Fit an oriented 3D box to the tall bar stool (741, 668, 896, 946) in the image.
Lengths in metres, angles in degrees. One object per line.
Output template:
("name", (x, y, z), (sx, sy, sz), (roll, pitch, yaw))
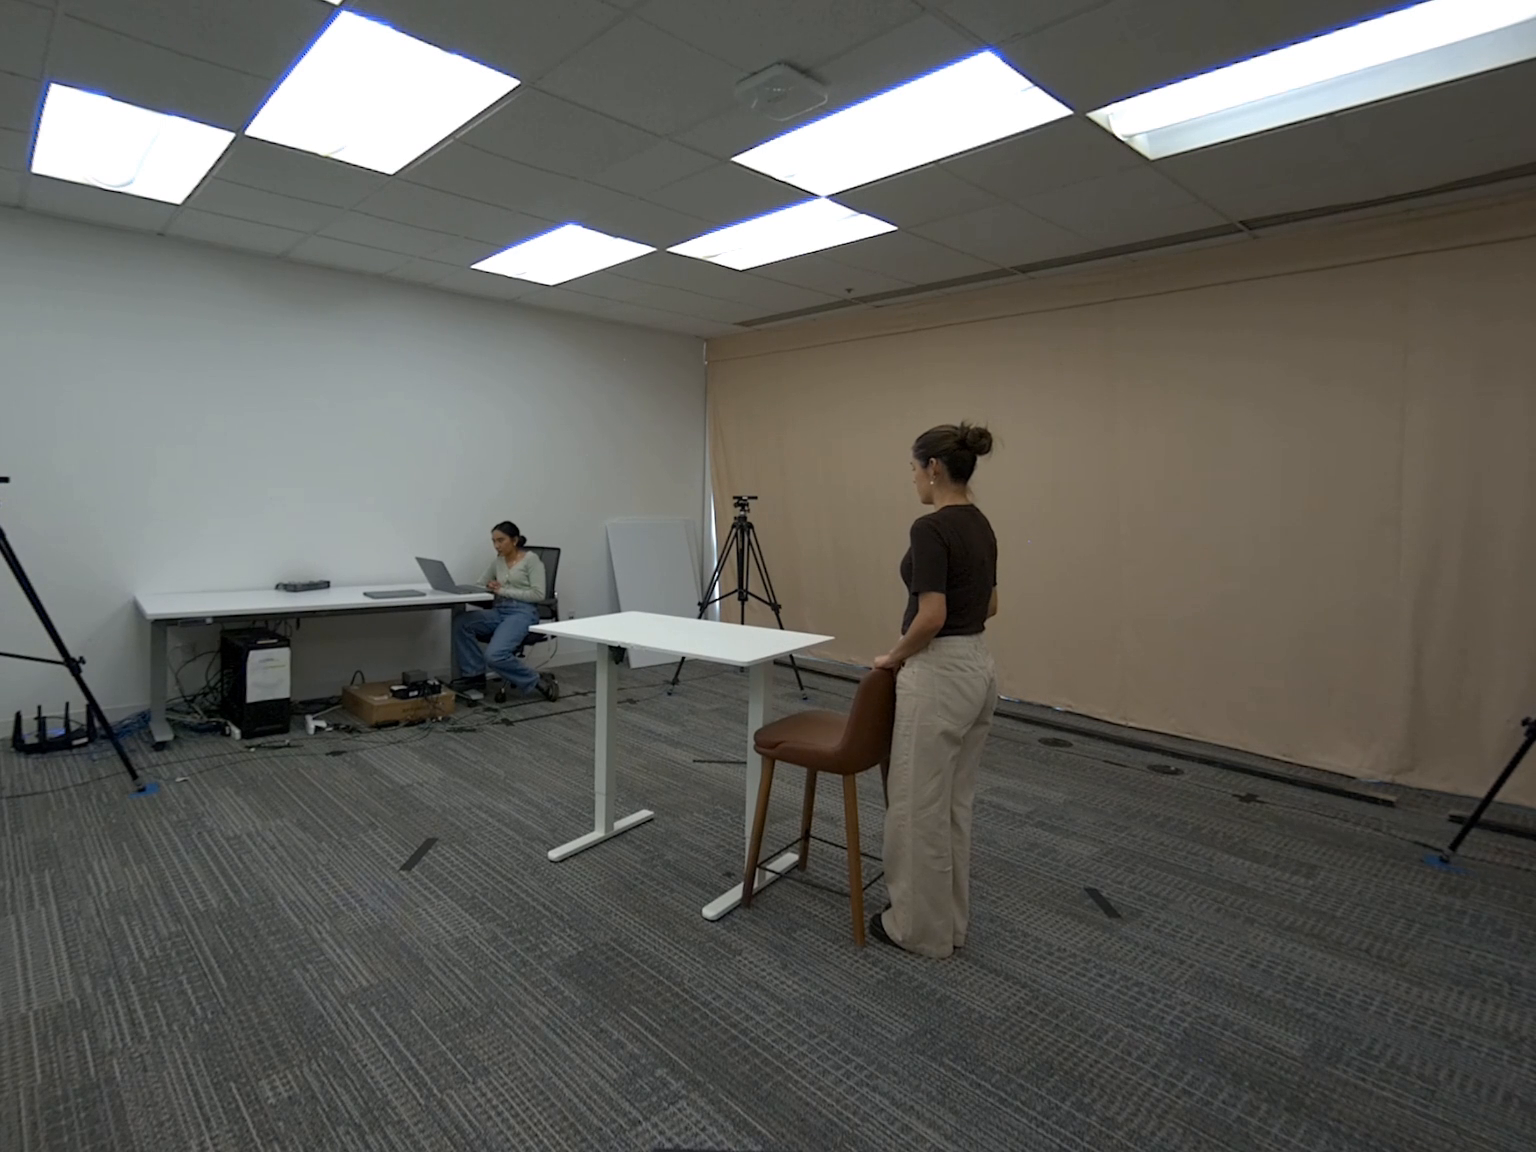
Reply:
("tall bar stool", (0.225, 0.690, 2.862), (0.479, 0.886, 0.447), (8, 7, 35))
